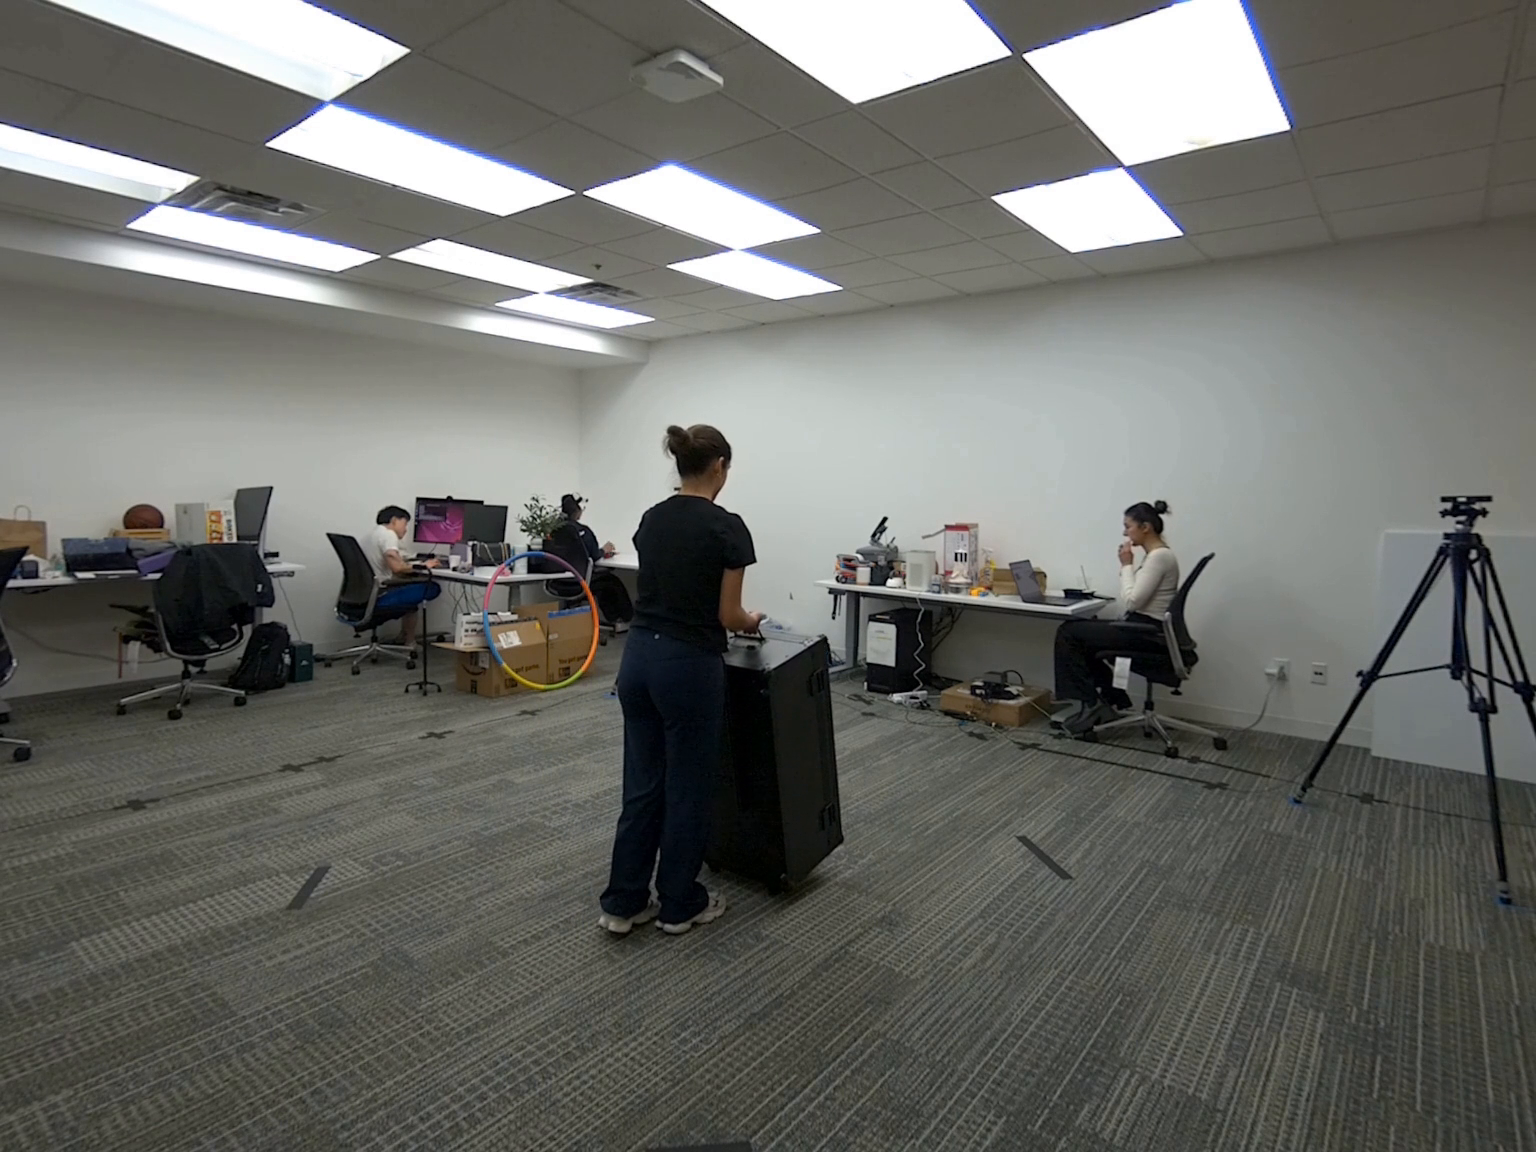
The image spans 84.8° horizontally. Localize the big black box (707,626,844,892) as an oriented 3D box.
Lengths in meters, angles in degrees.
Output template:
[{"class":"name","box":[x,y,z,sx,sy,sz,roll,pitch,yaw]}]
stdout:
[{"class":"big black box","box":[-0.044,0.639,3.016,0.538,0.850,0.388,4,16,38]}]
